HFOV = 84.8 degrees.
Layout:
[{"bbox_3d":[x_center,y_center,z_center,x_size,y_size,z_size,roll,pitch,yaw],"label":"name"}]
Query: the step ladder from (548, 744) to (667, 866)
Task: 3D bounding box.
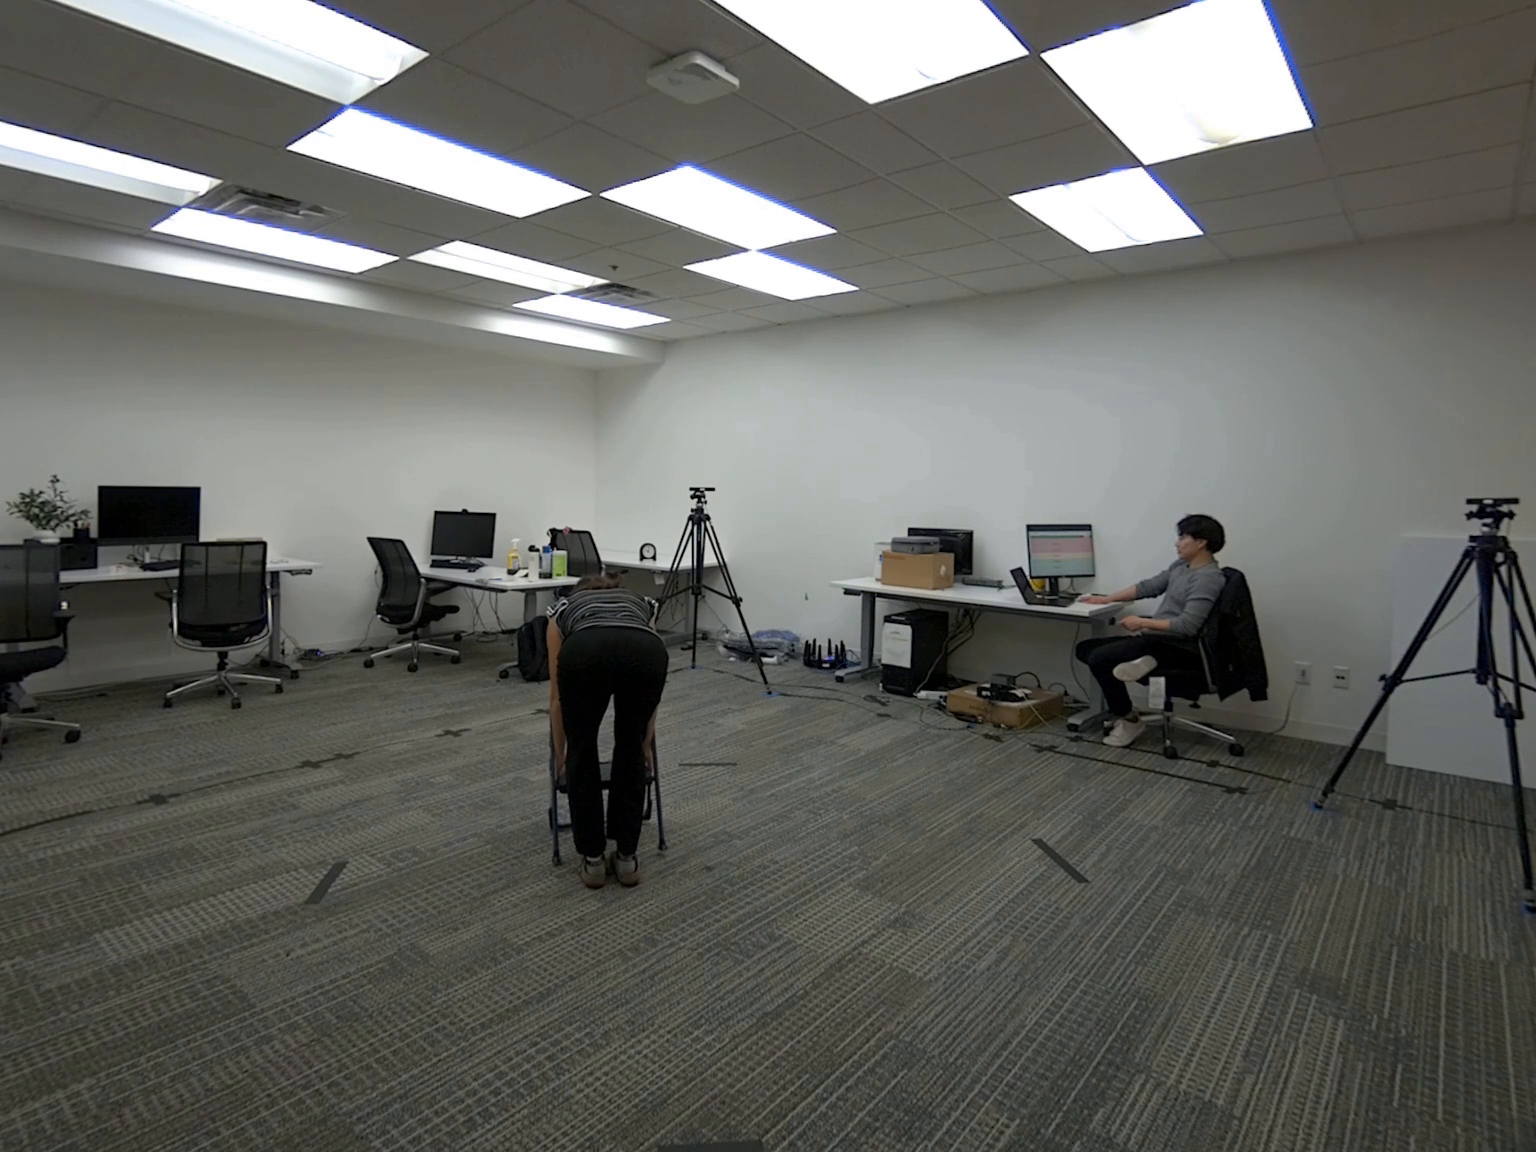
[{"bbox_3d":[-0.646,0.724,3.311,0.424,0.604,0.356,-1,3,-16],"label":"step ladder"}]
